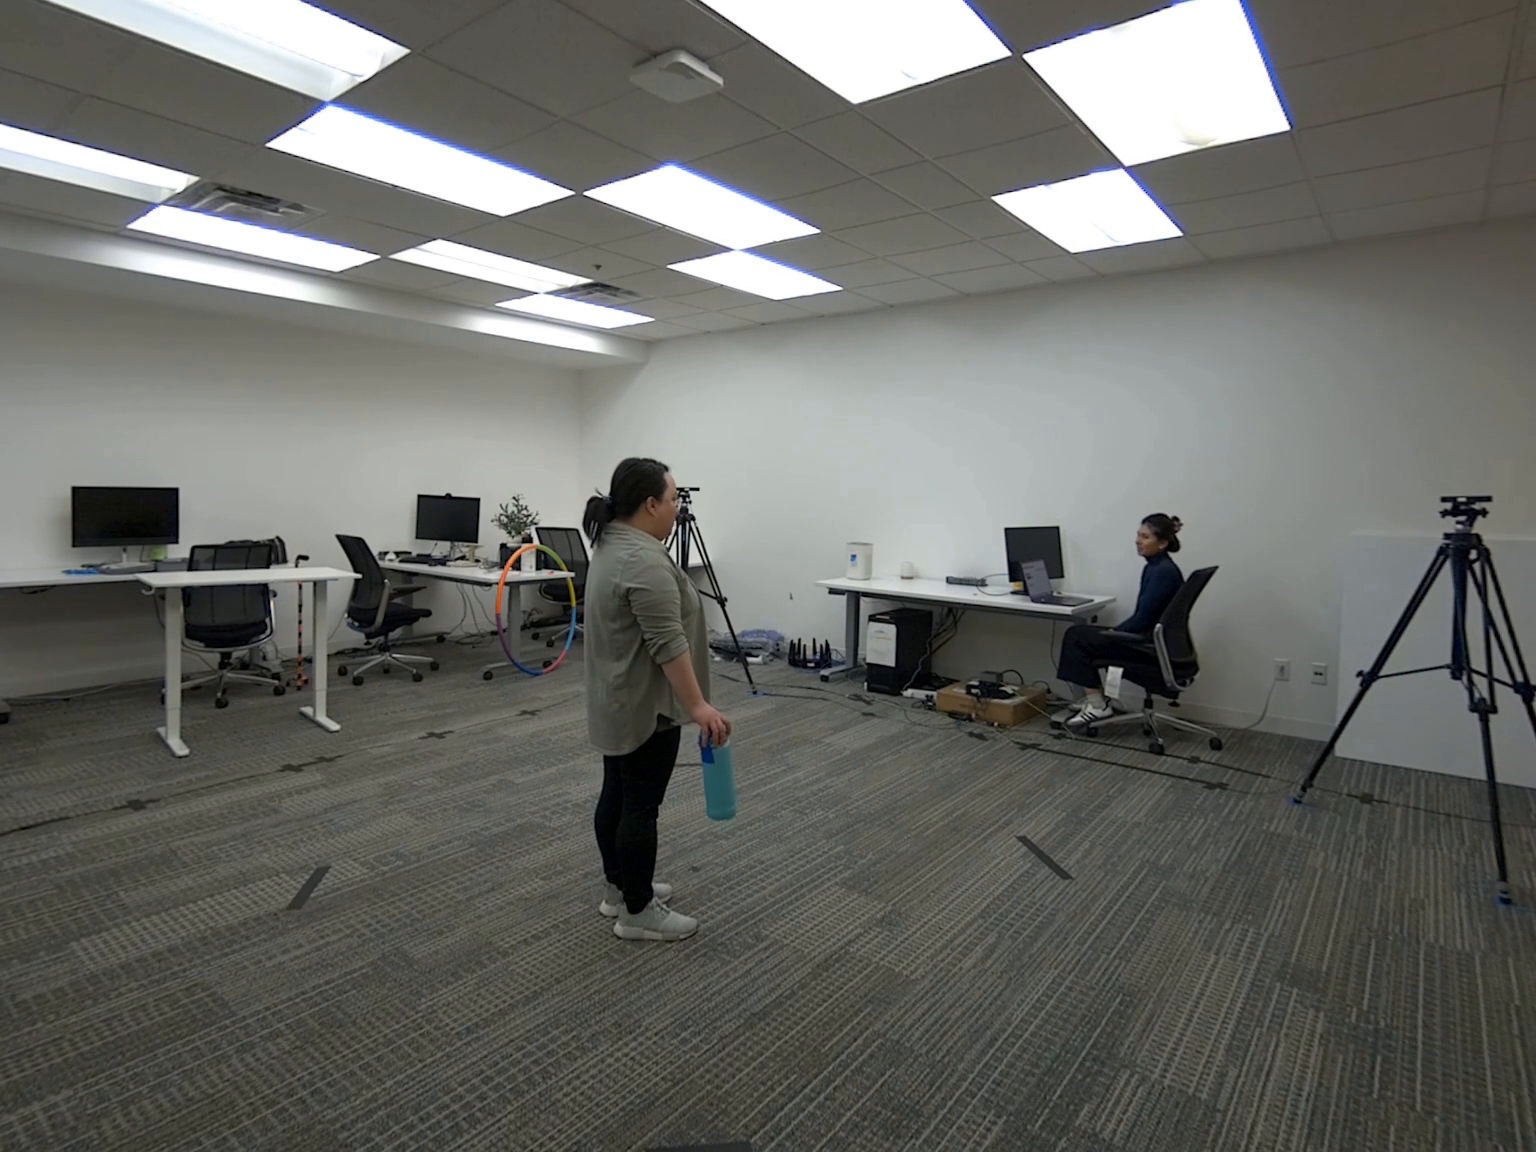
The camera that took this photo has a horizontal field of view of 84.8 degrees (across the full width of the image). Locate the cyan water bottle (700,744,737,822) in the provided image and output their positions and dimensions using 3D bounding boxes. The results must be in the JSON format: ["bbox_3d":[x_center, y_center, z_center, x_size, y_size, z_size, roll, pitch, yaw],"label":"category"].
[{"bbox_3d":[-0.158,0.570,2.506,0.092,0.281,0.093,-4,6,-1],"label":"cyan water bottle"}]
